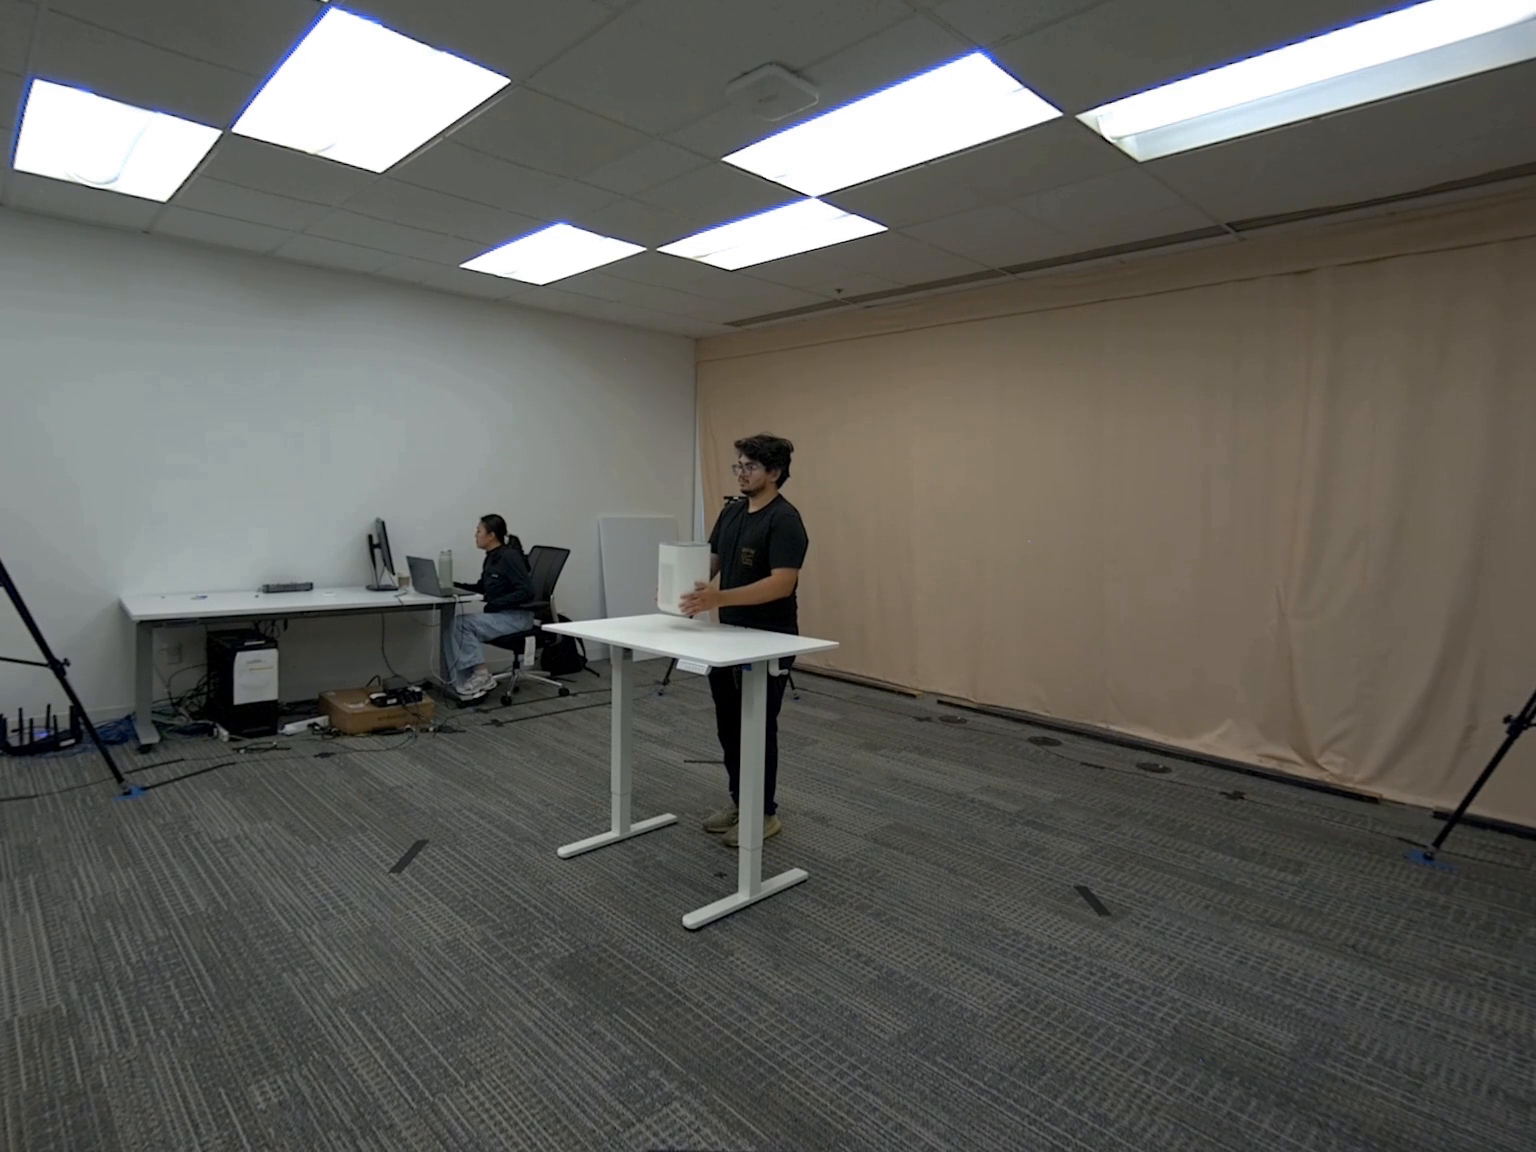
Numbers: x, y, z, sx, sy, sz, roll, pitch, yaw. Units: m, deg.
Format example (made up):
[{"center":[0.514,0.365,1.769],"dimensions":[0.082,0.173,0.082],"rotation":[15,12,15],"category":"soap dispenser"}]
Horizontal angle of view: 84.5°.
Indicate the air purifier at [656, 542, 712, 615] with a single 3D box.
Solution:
[{"center":[-0.328,0.005,3.243],"dimensions":[0.167,0.265,0.176],"rotation":[-2,5,-43],"category":"air purifier"}]
